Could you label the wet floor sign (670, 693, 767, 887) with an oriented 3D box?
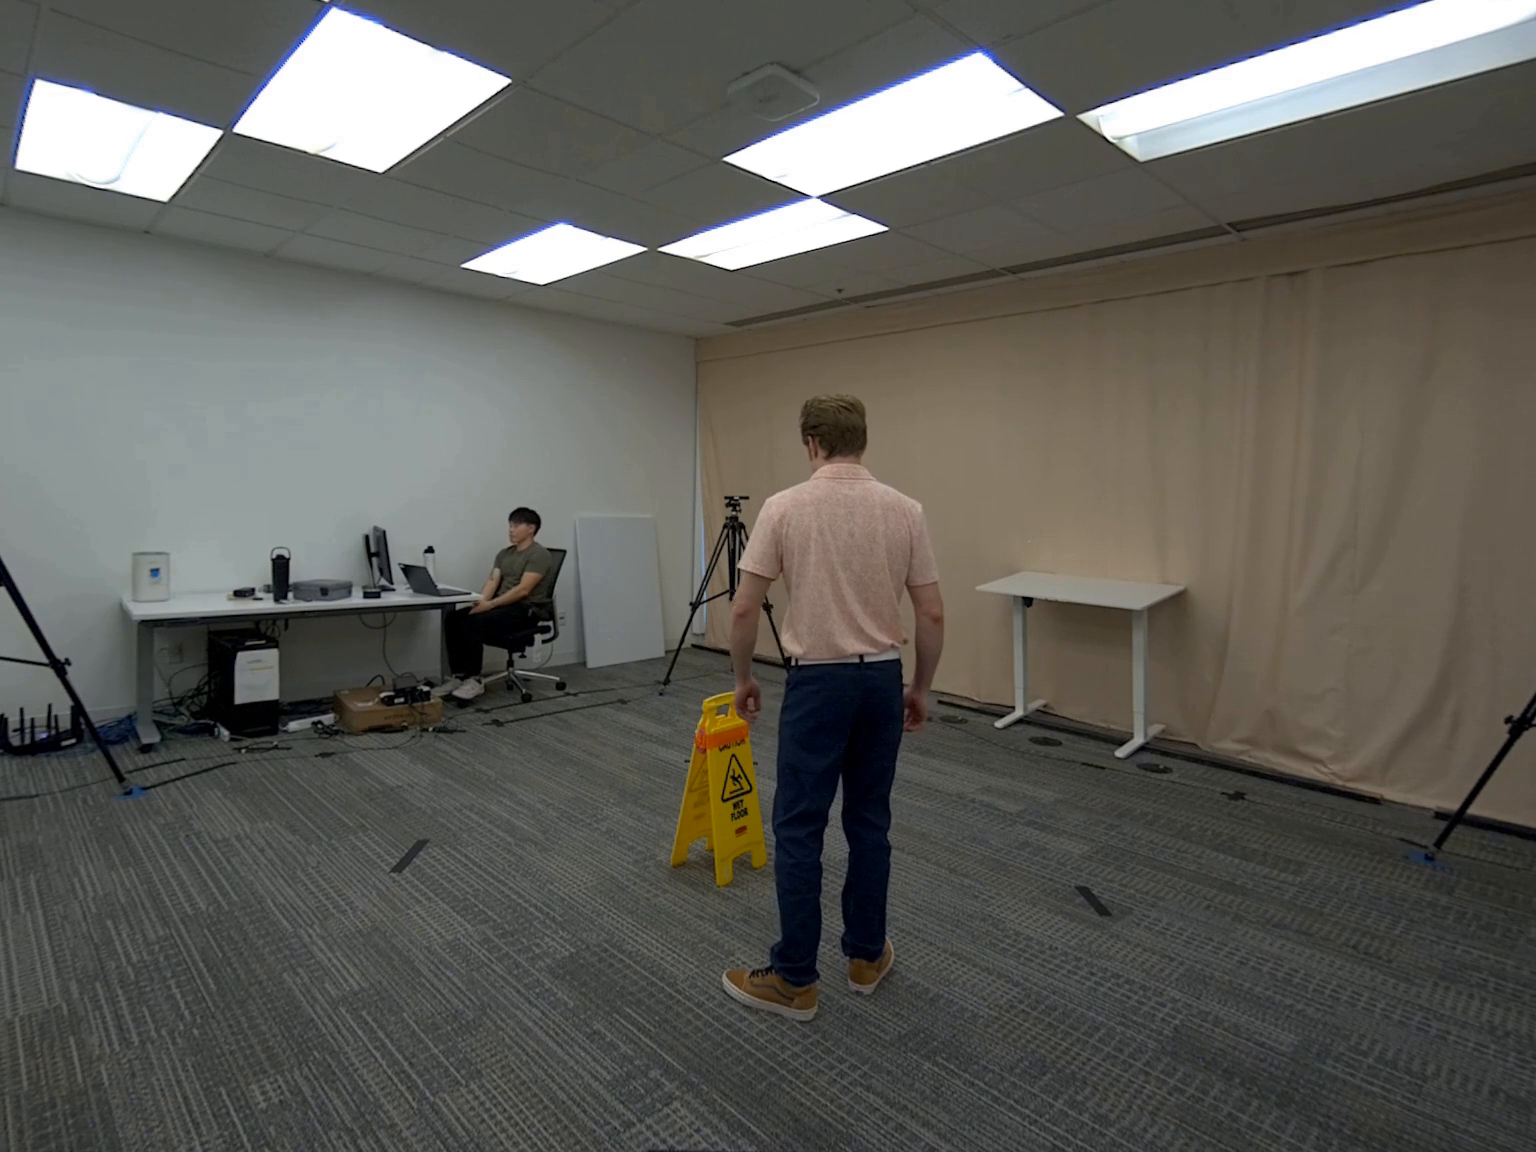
[{"bbox_3d":[-0.182,0.772,3.164,0.297,0.644,0.276,4,4,39],"label":"wet floor sign"}]
